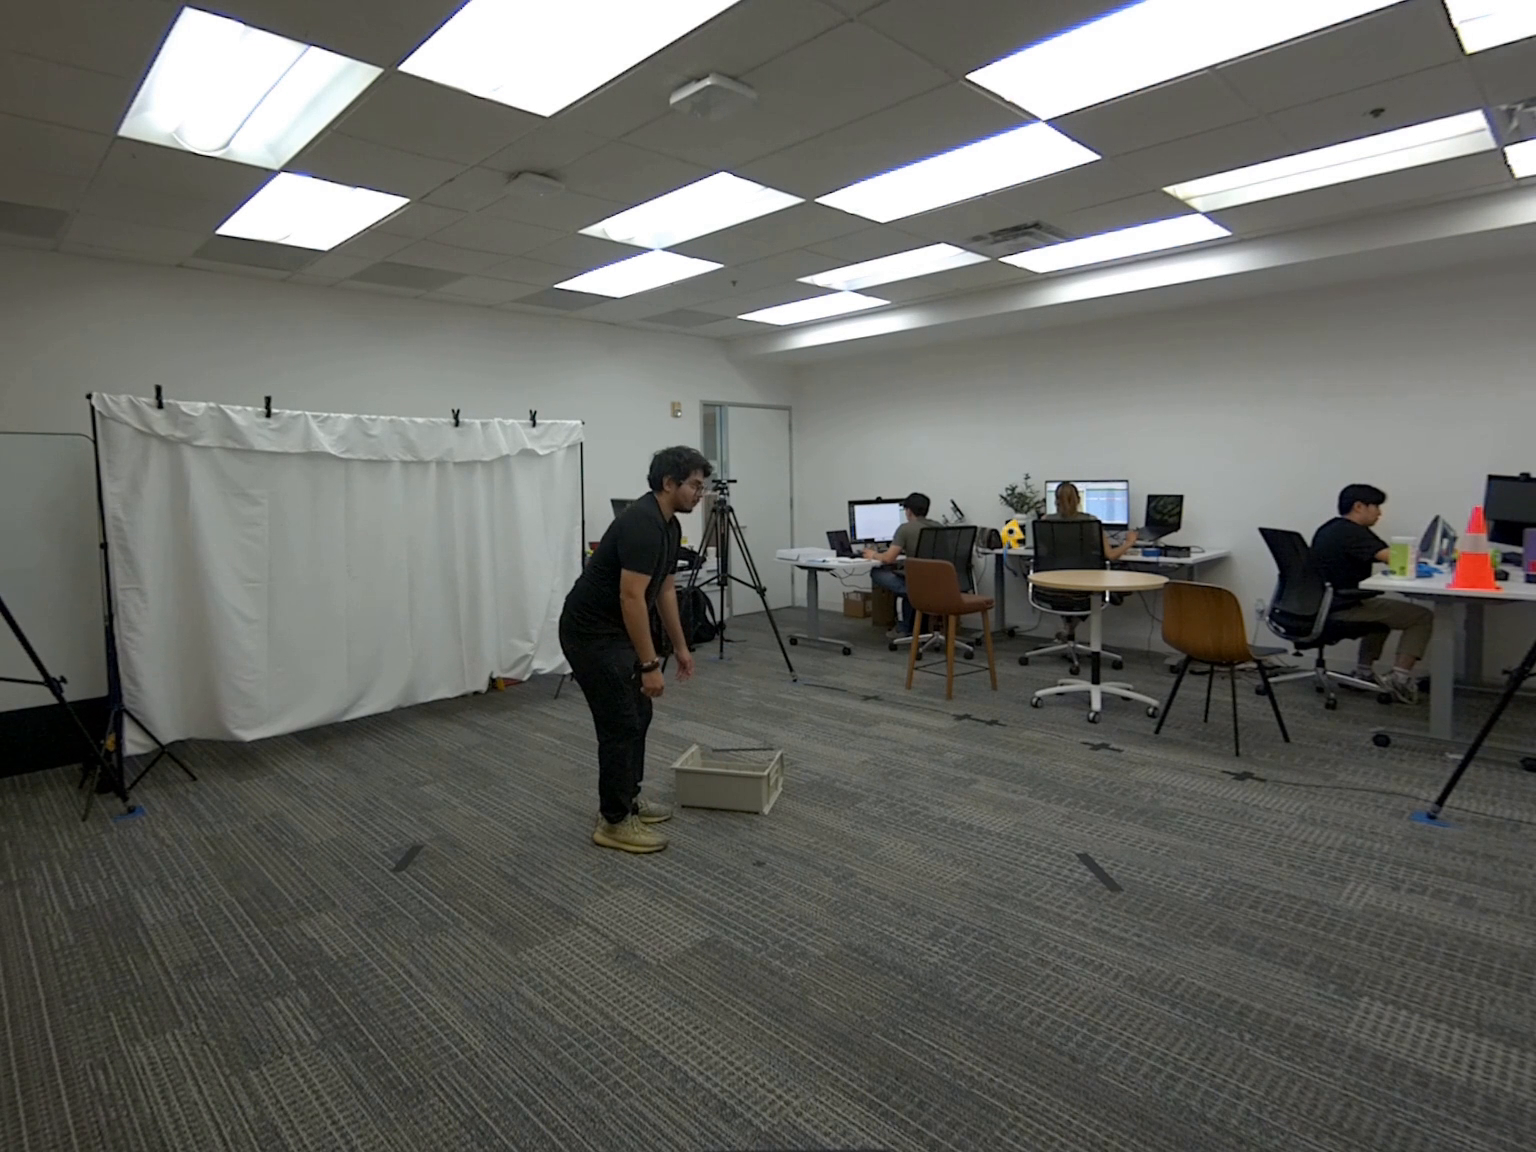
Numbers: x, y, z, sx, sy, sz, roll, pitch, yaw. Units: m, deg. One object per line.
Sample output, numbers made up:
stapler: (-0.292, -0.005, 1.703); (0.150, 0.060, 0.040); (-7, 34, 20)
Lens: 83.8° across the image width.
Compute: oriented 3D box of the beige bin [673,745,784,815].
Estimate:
beige bin: (-0.169, 0.887, 3.782); (0.429, 0.188, 0.374); (1, 7, 15)
